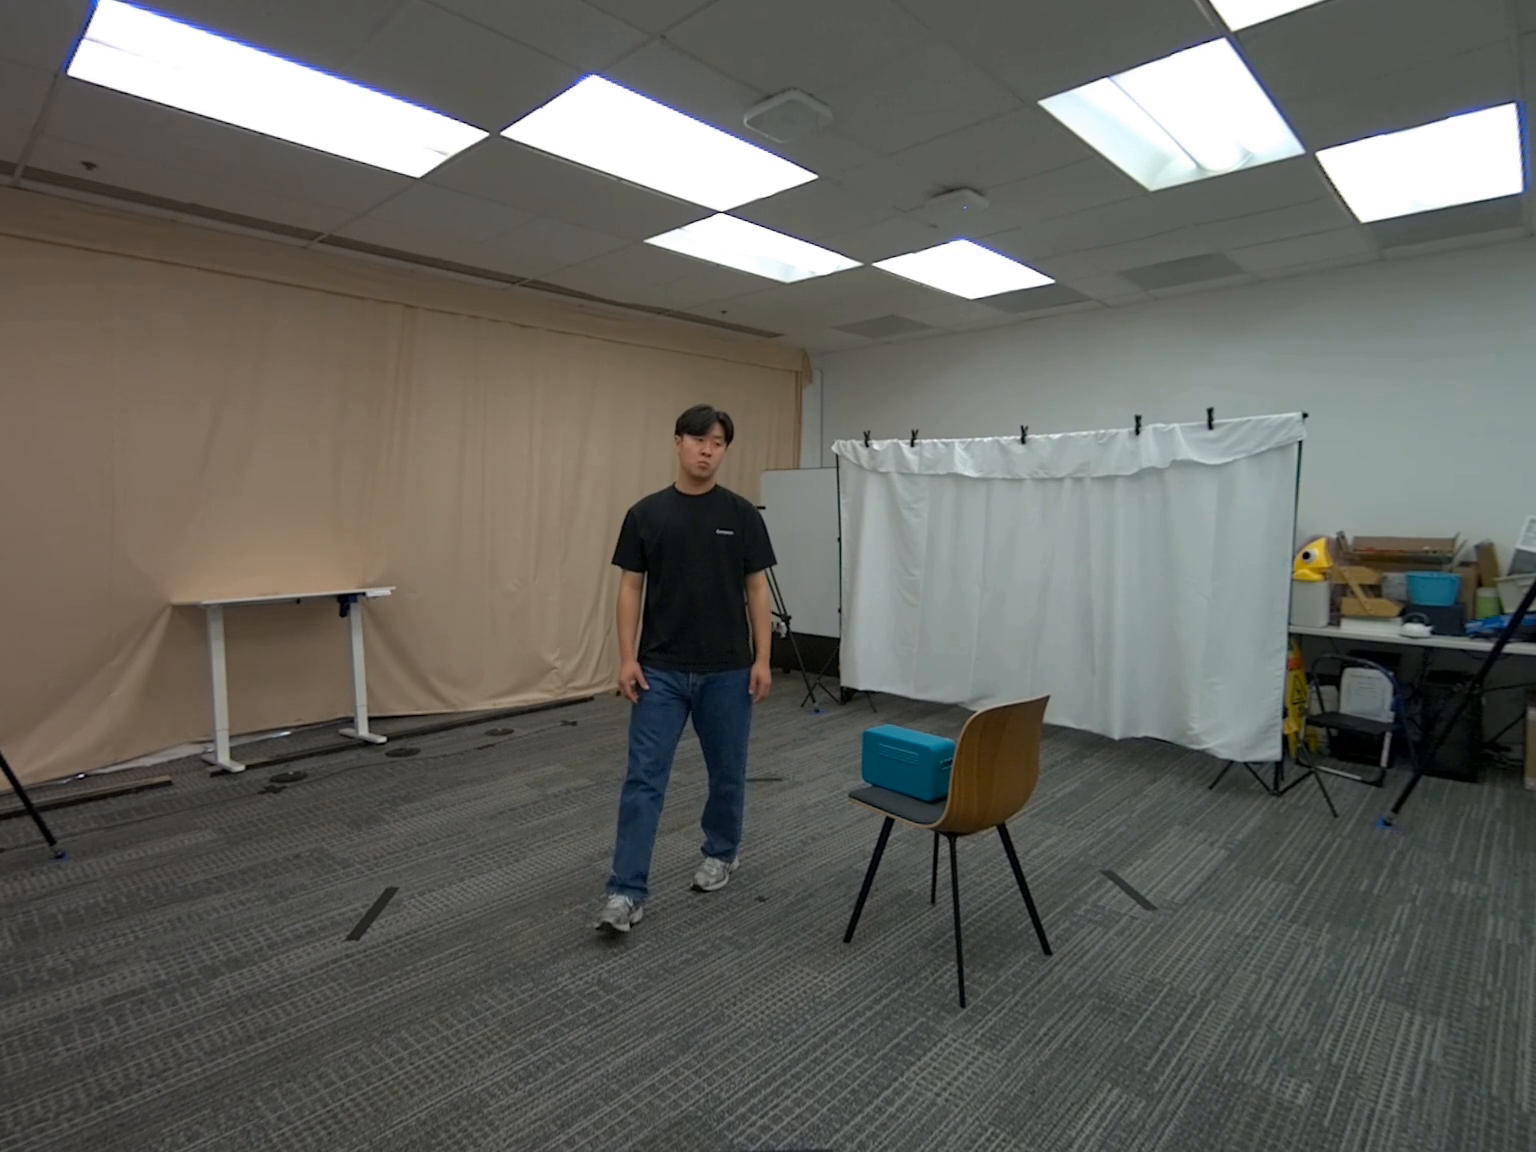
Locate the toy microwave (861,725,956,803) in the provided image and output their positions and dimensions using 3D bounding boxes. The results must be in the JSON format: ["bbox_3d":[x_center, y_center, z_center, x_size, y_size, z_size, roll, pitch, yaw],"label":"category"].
[{"bbox_3d":[0.464,0.597,2.710,0.147,0.184,0.296,-2,4,-42],"label":"toy microwave"}]
